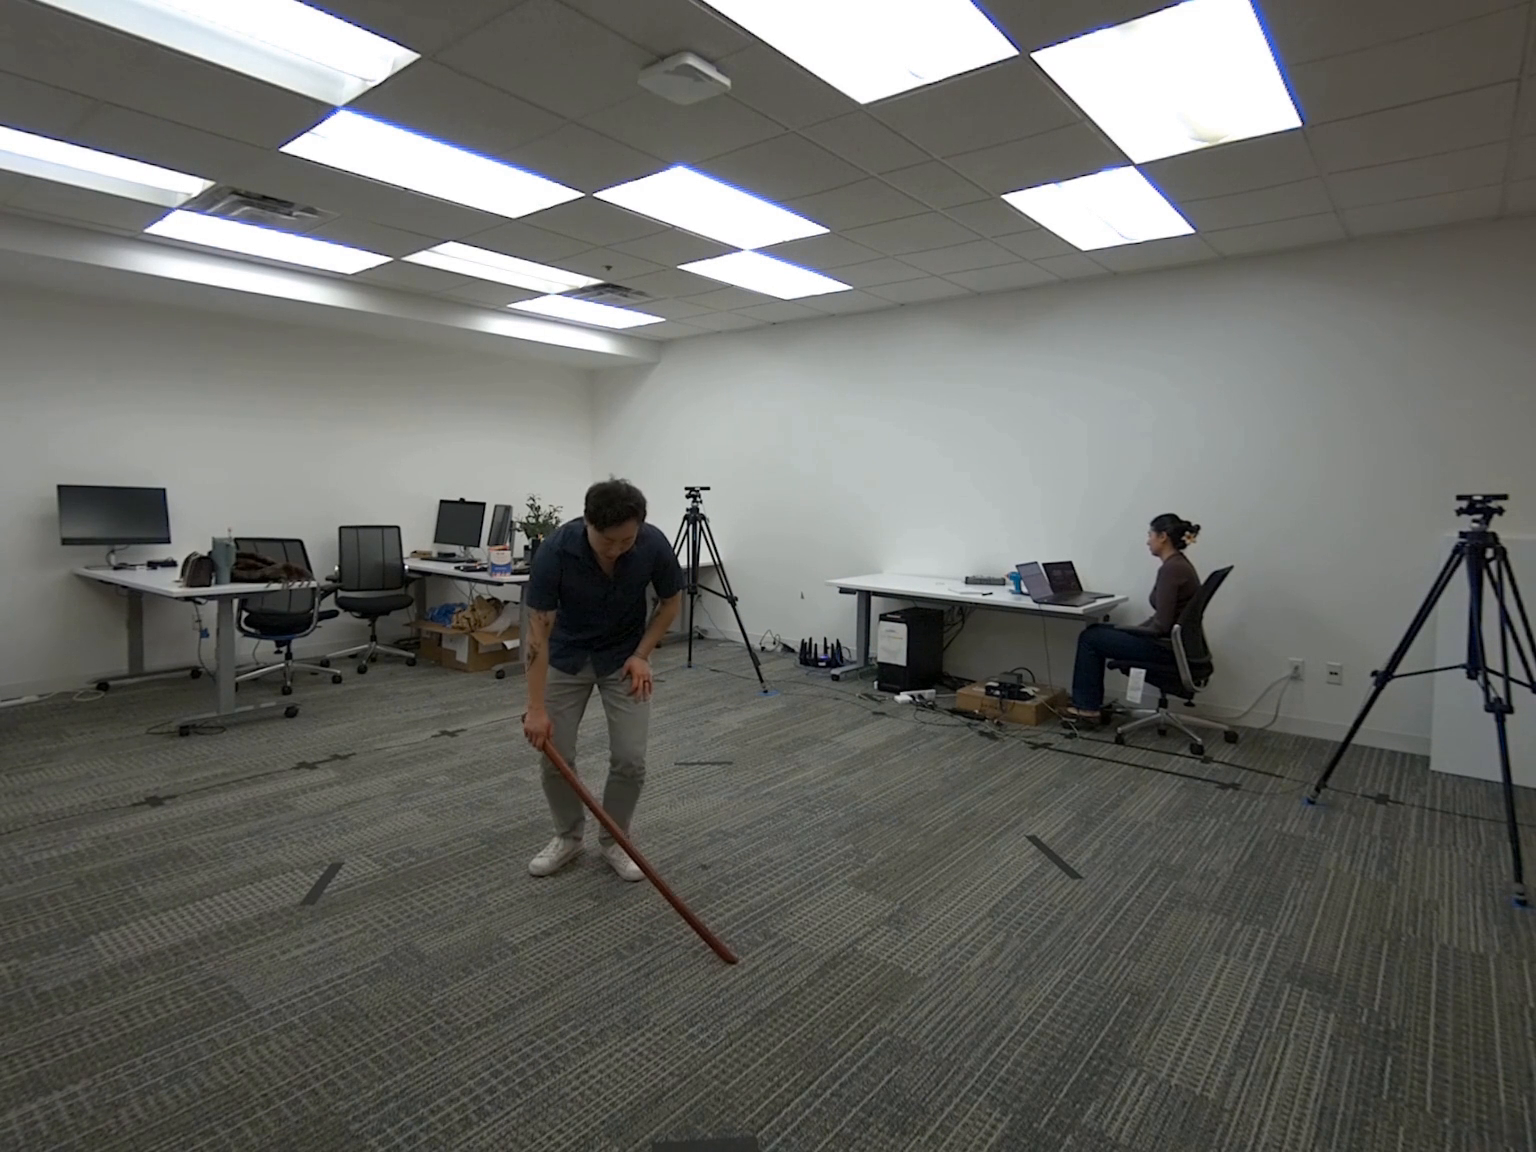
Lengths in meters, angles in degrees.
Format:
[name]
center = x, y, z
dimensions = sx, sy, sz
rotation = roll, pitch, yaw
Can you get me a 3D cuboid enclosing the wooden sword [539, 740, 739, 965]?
[wooden sword]
center = -0.463, 0.810, 2.685
dimensions = 0.051, 0.023, 1.057
rotation = -34, 63, -30
